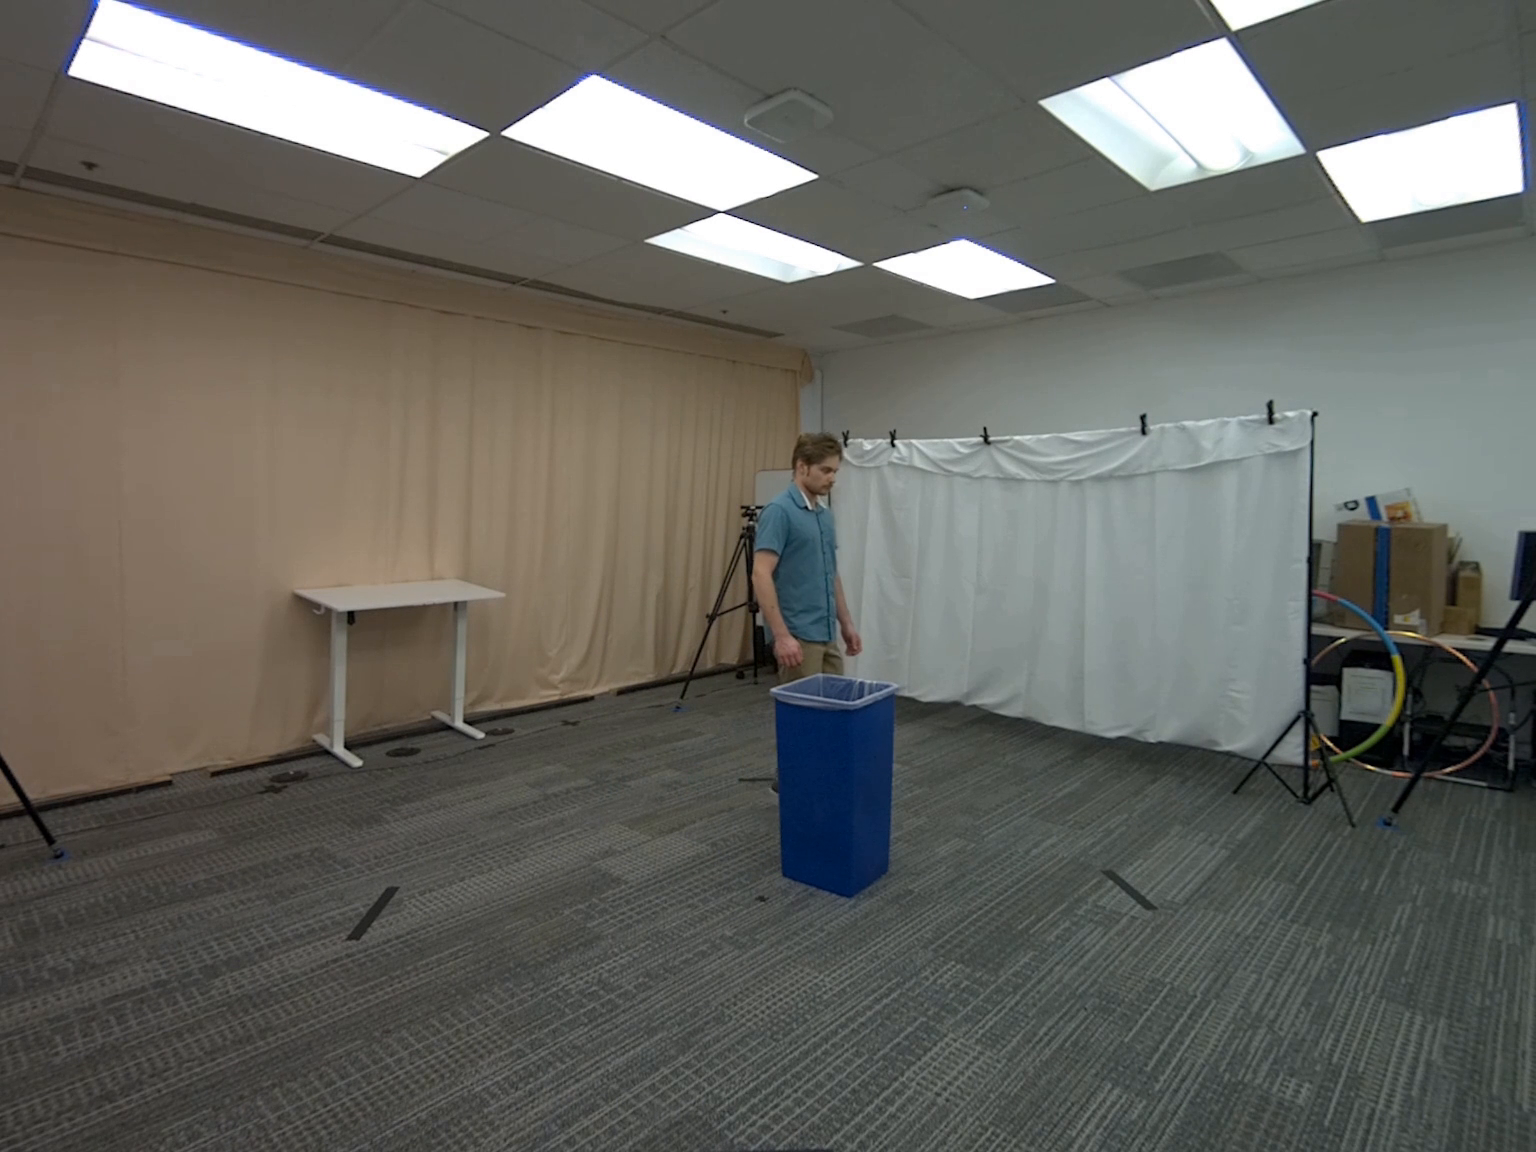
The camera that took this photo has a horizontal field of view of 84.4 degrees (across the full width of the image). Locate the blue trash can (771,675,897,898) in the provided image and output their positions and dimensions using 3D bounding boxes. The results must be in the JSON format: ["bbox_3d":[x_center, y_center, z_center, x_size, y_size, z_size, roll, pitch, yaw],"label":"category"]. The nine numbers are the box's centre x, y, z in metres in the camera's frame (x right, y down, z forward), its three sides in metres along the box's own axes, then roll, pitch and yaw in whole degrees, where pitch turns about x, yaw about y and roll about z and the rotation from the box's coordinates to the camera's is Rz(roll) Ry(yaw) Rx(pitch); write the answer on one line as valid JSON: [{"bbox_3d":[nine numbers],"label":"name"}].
[{"bbox_3d":[0.251,0.768,3.160,0.390,0.712,0.363,2,4,37],"label":"blue trash can"}]
